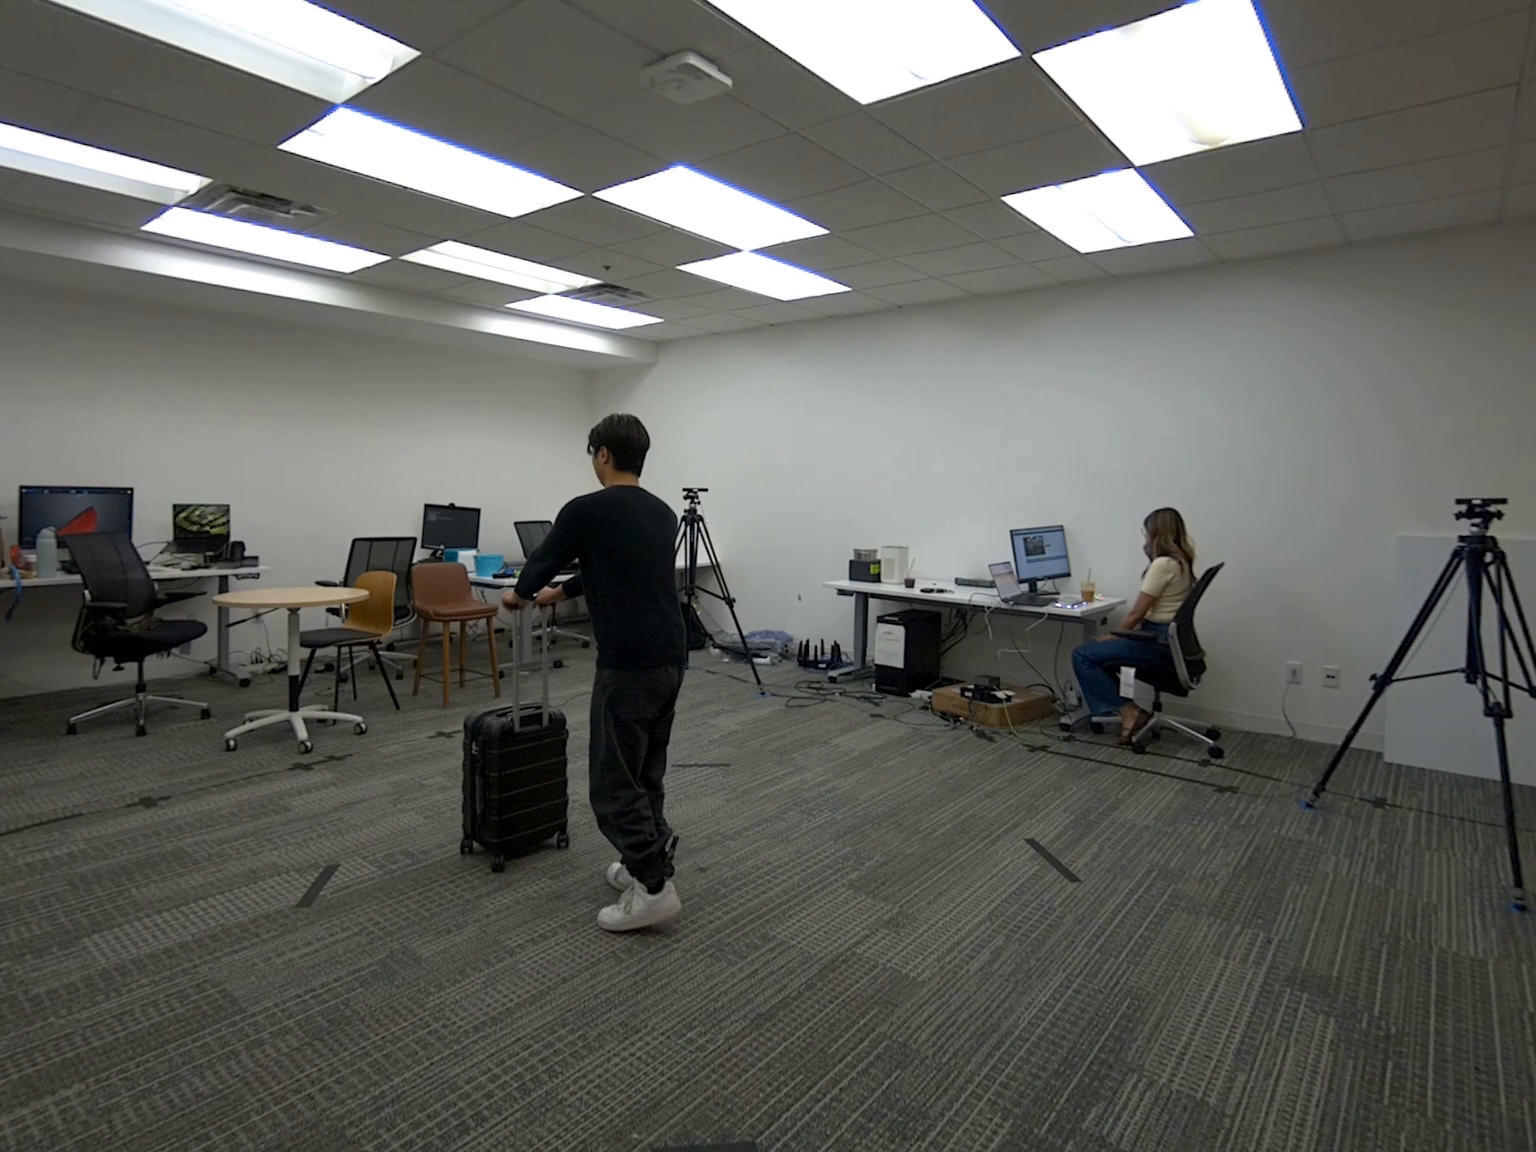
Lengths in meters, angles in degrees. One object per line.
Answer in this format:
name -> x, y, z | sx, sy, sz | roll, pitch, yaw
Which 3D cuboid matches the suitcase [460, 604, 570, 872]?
suitcase -> -0.991, 0.569, 3.265 | 0.265, 0.979, 0.372 | -2, -1, 40
